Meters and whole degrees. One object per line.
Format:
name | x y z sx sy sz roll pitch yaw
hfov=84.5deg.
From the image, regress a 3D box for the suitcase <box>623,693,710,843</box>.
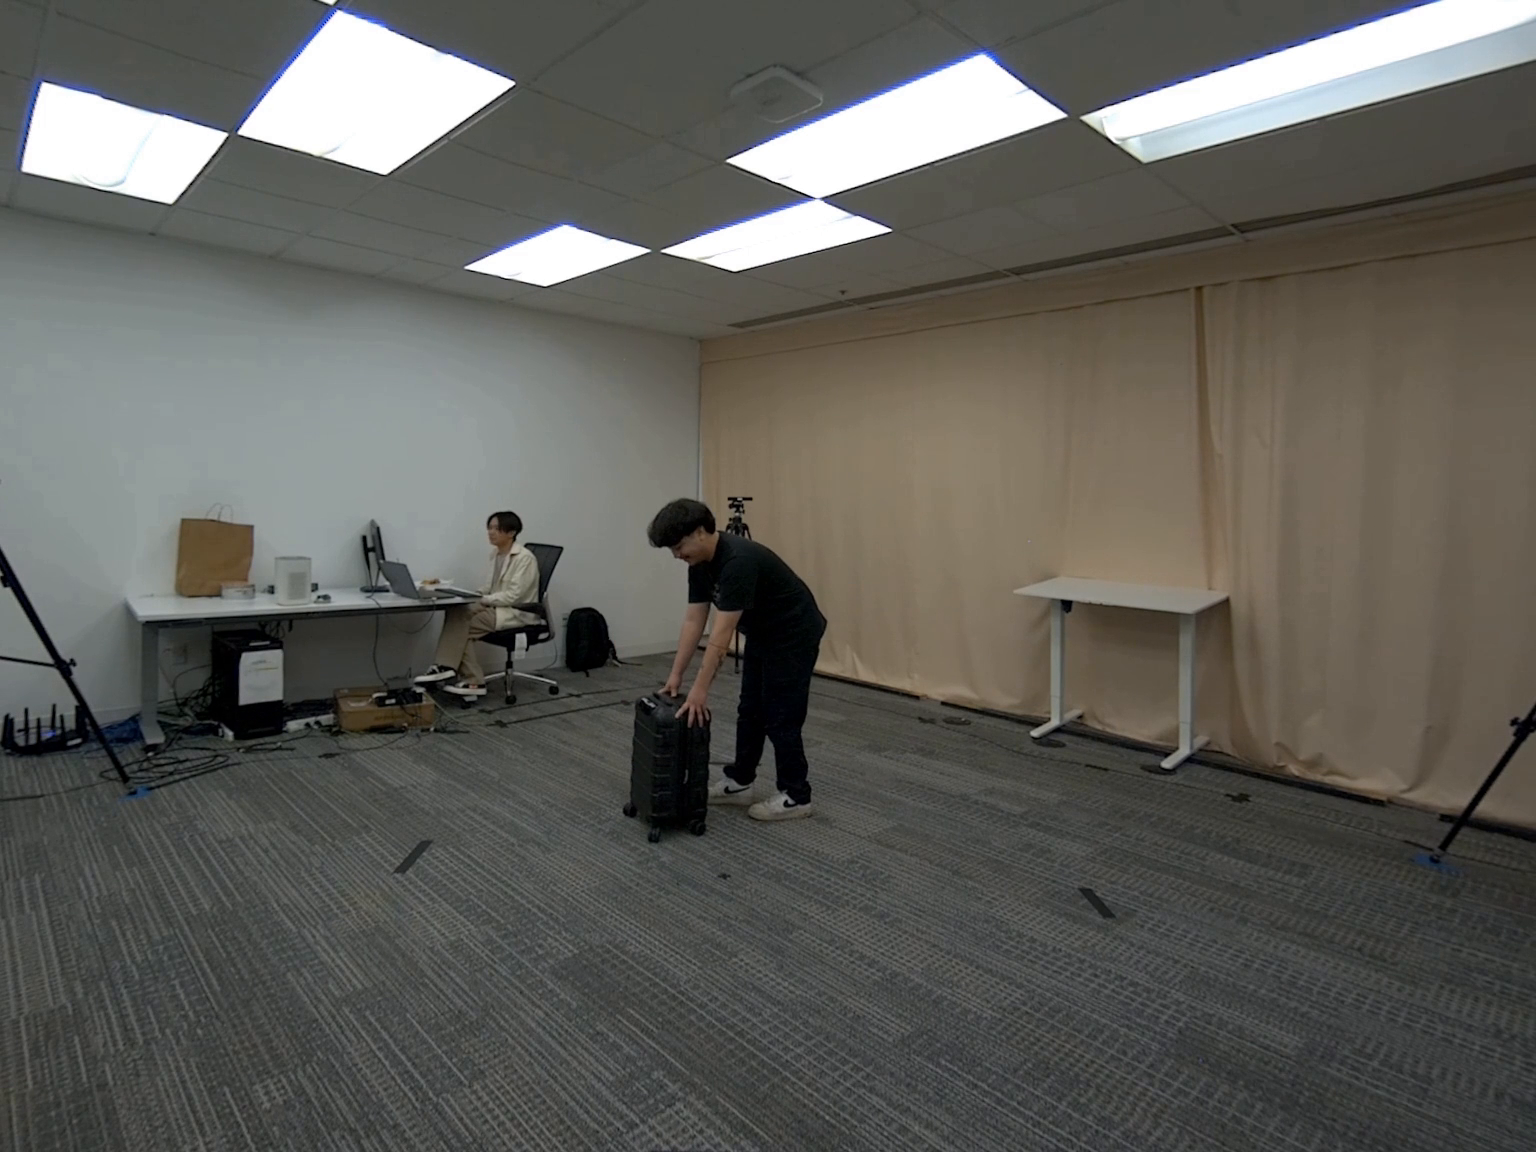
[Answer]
suitcase | -0.429 0.787 3.590 0.243 0.549 0.383 2 2 -26
